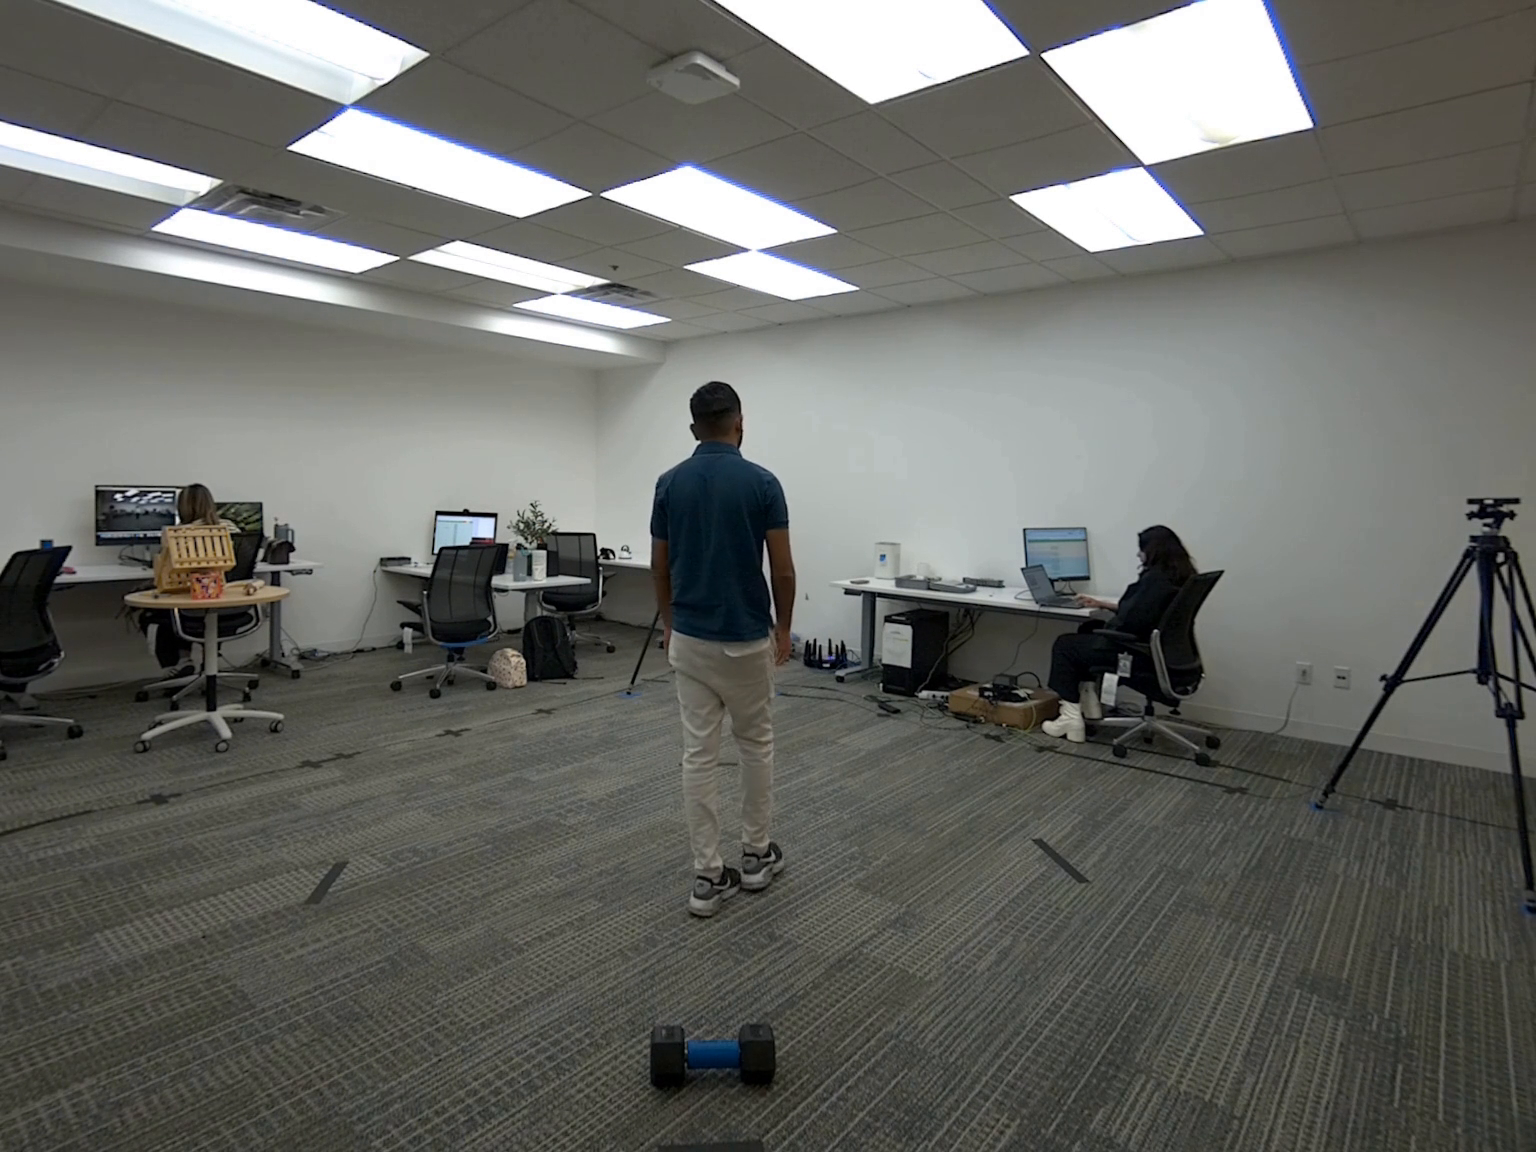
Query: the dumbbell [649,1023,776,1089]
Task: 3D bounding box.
[{"bbox_3d":[-0.137,1.126,2.010,0.292,0.108,0.124,1,2,-5],"label":"dumbbell"}]
